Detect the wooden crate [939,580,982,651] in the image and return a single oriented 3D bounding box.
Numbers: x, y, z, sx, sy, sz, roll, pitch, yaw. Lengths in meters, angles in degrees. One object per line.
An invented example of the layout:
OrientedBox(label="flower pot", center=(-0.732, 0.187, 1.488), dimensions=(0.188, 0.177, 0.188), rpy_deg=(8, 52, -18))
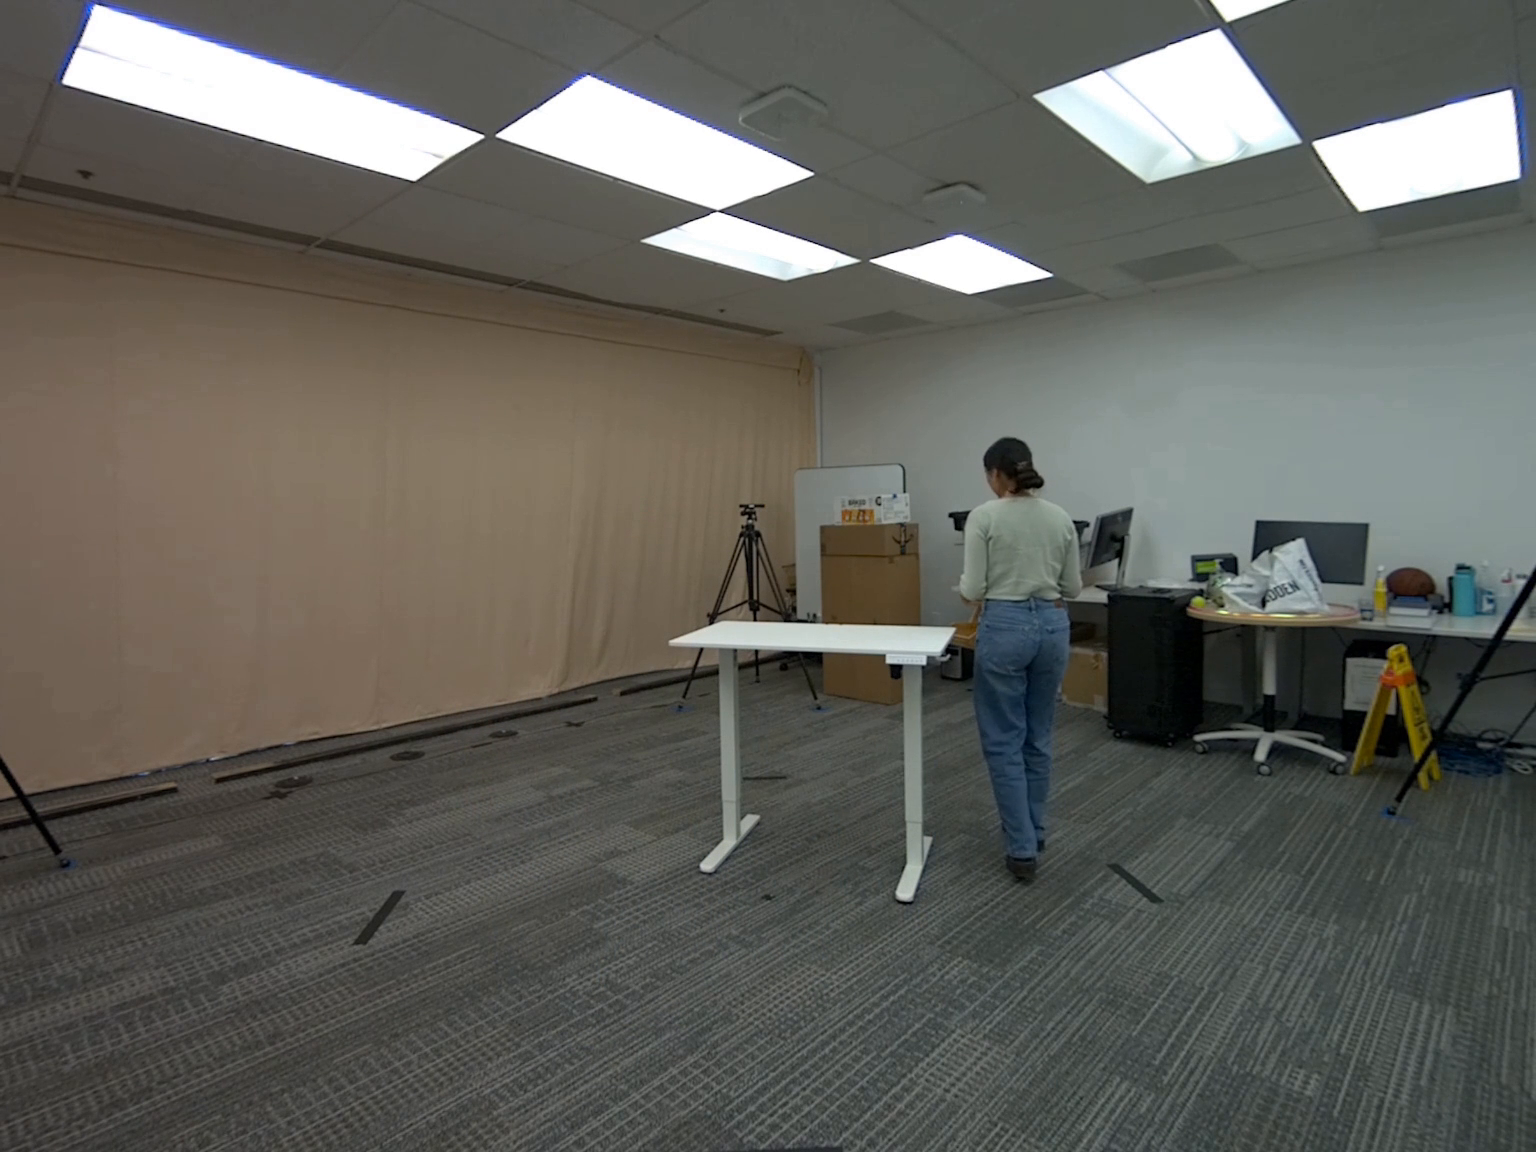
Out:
OrientedBox(label="wooden crate", center=(0.928, 0.157, 3.546), dimensions=(0.299, 0.273, 0.327), rpy_deg=(1, 0, -10))
